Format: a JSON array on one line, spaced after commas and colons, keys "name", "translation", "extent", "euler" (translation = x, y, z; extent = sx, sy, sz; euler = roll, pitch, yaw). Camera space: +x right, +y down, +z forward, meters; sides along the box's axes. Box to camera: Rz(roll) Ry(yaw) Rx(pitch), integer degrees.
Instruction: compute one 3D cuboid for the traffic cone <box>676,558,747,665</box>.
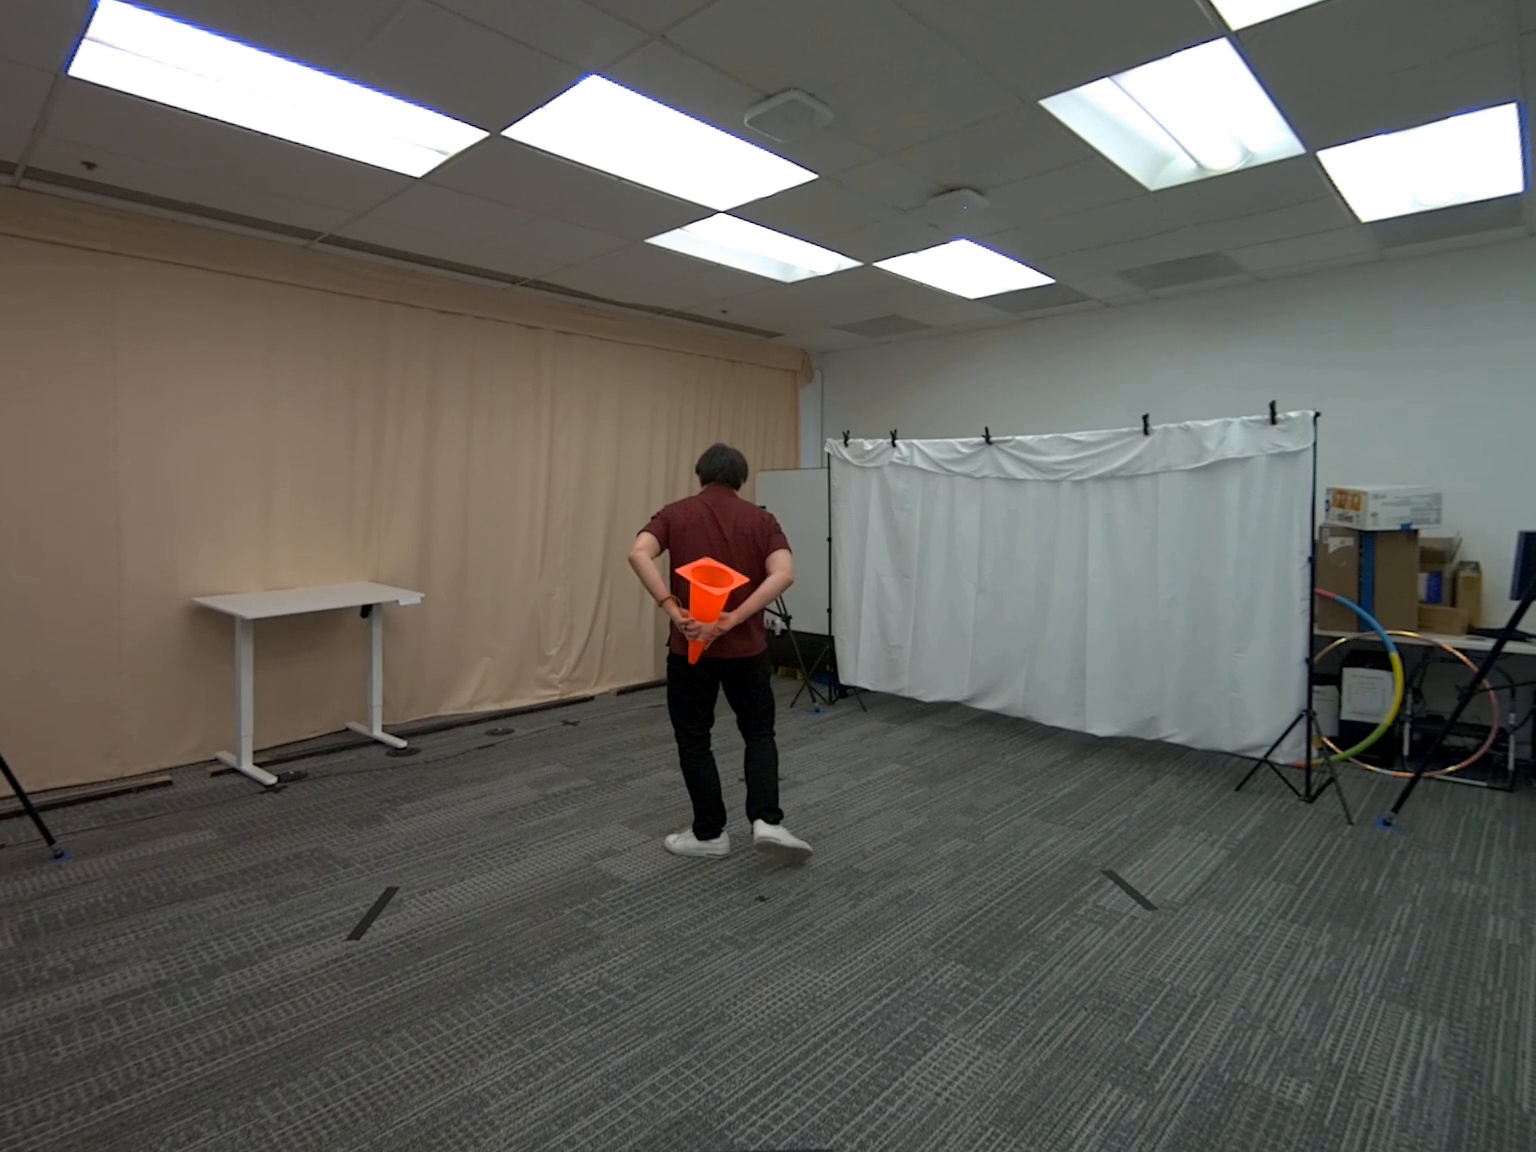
[{"name": "traffic cone", "translation": [-0.239, 0.165, 3.047], "extent": [0.209, 0.381, 0.200], "euler": [30, 28, 25]}]
